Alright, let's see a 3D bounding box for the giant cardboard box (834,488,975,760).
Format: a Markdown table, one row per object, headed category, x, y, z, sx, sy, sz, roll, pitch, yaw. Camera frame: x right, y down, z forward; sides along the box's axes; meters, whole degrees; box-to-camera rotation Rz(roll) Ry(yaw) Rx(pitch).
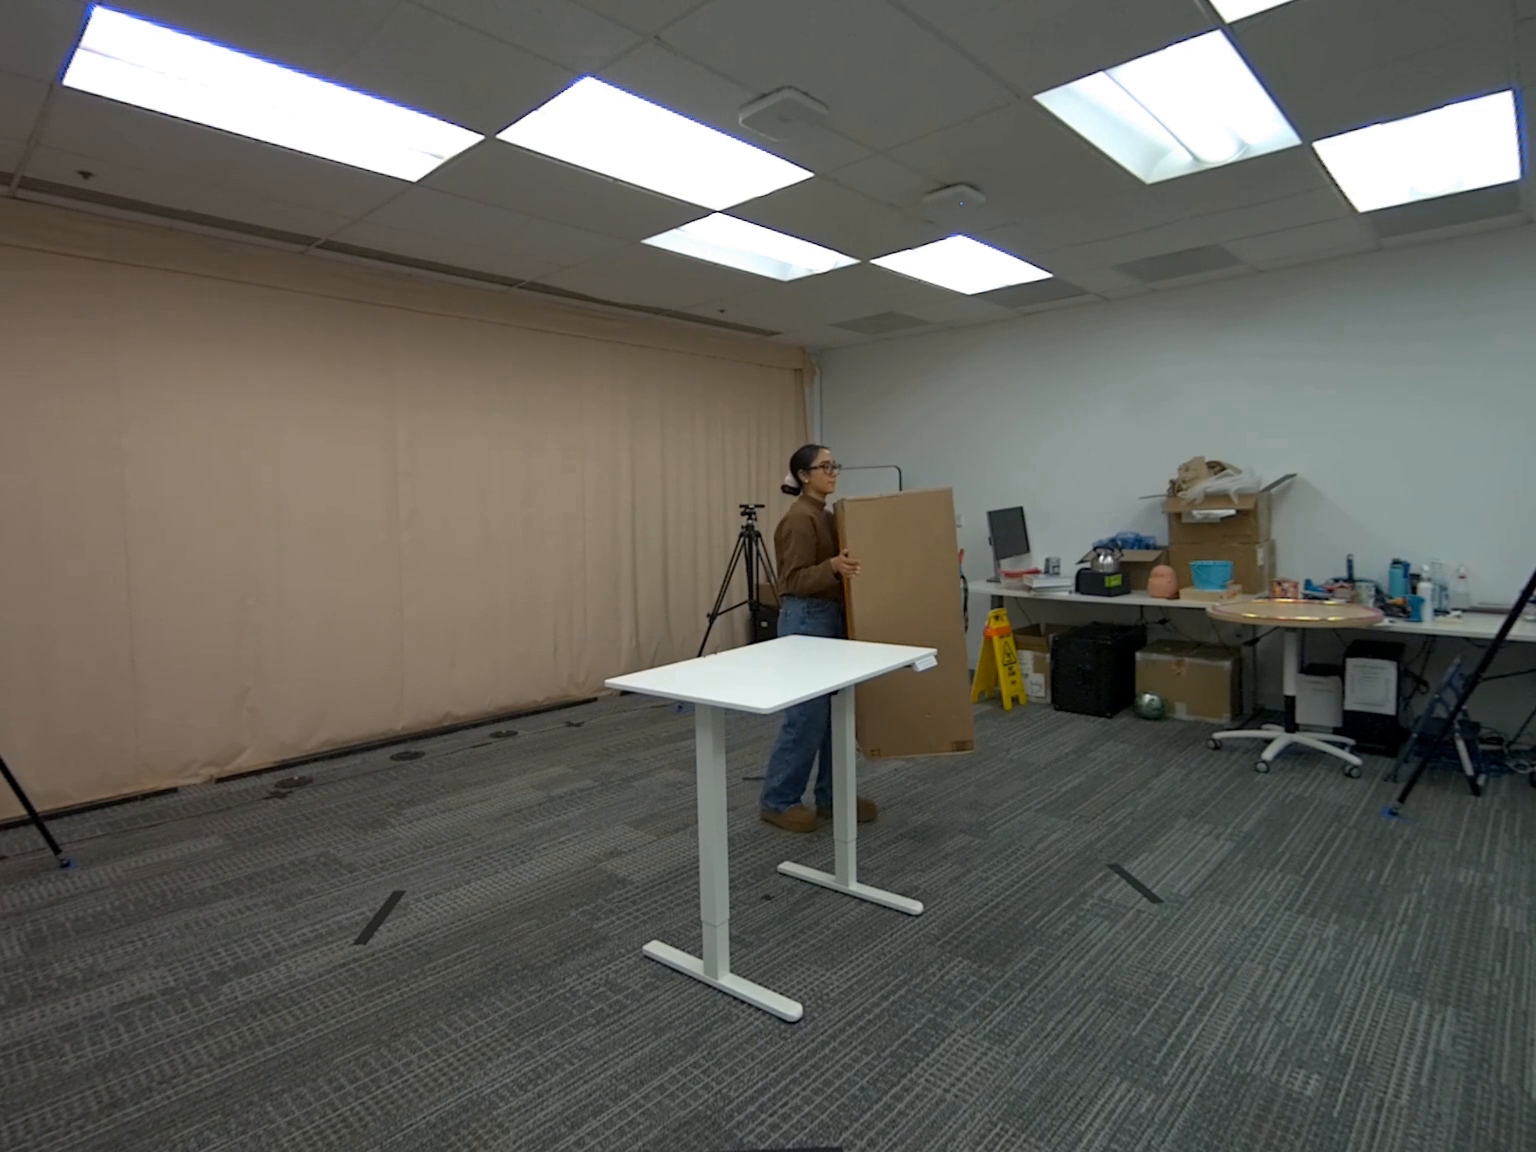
| category | x | y | z | sx | sy | sz | roll | pitch | yaw |
| --- | --- | --- | --- | --- | --- | --- | --- | --- | --- |
| giant cardboard box | 0.554 | 0.179 | 3.516 | 0.428 | 1.025 | 0.576 | -5 | 1 | 2 |
